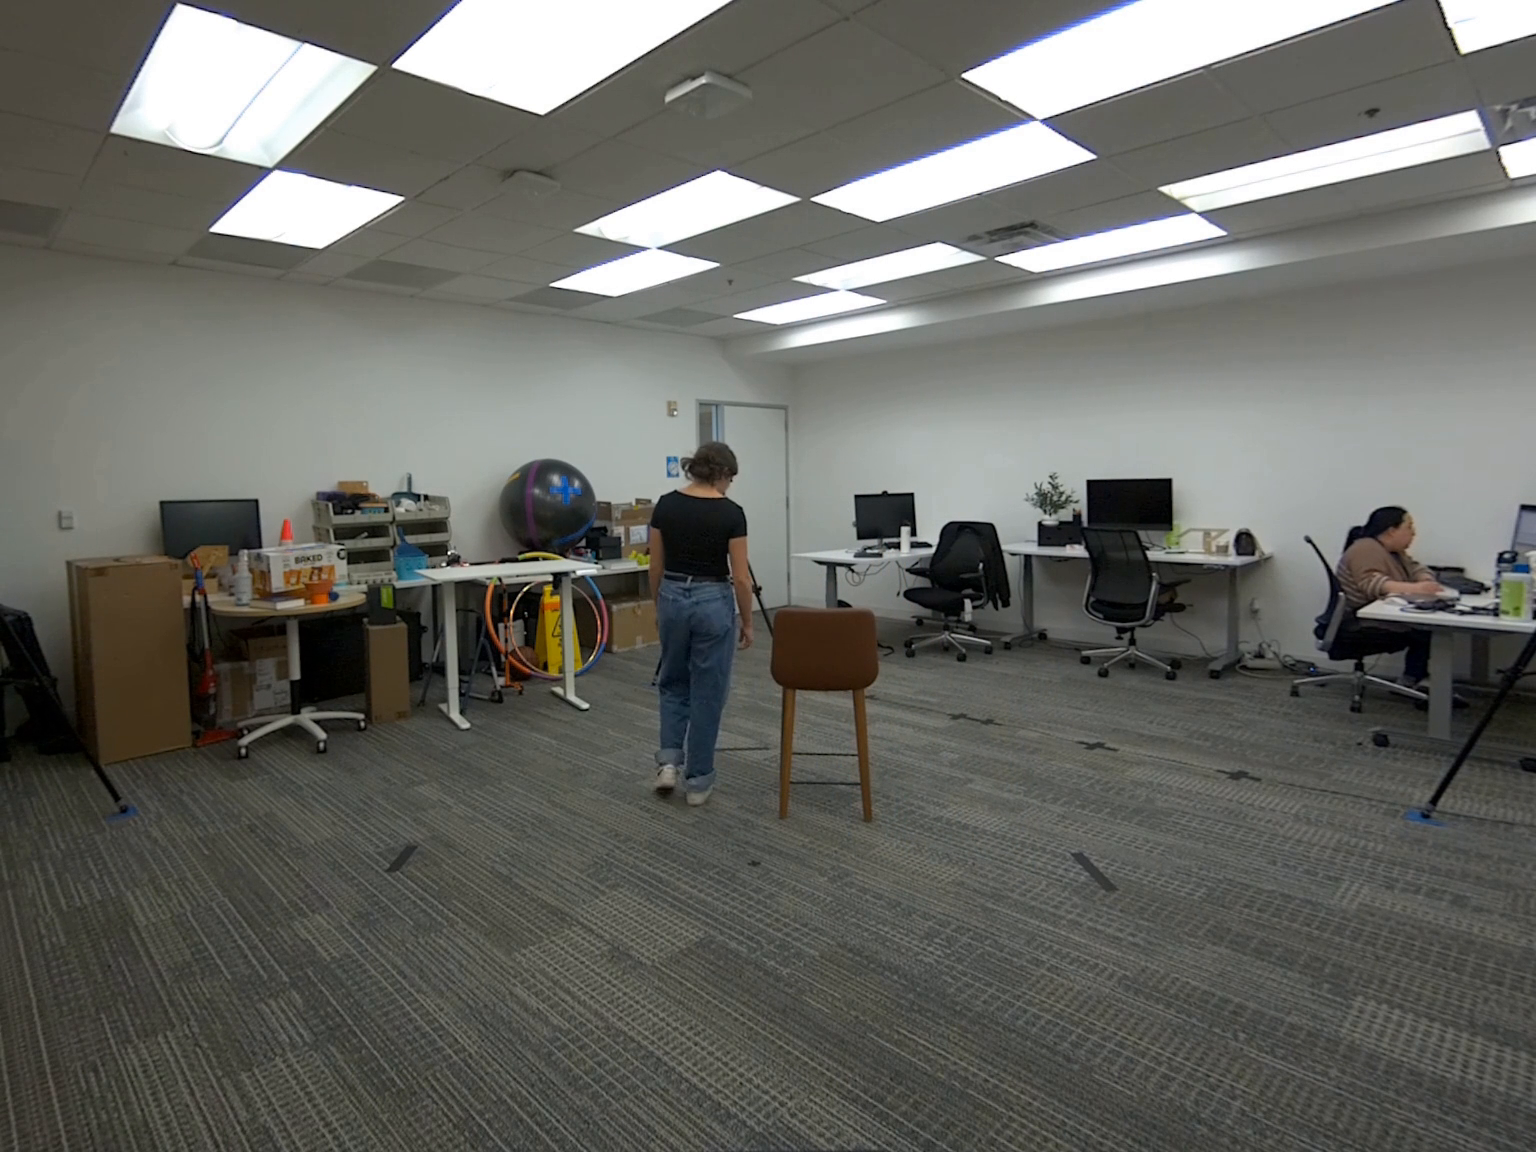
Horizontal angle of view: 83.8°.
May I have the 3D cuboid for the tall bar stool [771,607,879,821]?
[{"bbox_3d":[0.247,0.544,3.675,0.460,0.885,0.467,0,6,7],"label":"tall bar stool"}]
